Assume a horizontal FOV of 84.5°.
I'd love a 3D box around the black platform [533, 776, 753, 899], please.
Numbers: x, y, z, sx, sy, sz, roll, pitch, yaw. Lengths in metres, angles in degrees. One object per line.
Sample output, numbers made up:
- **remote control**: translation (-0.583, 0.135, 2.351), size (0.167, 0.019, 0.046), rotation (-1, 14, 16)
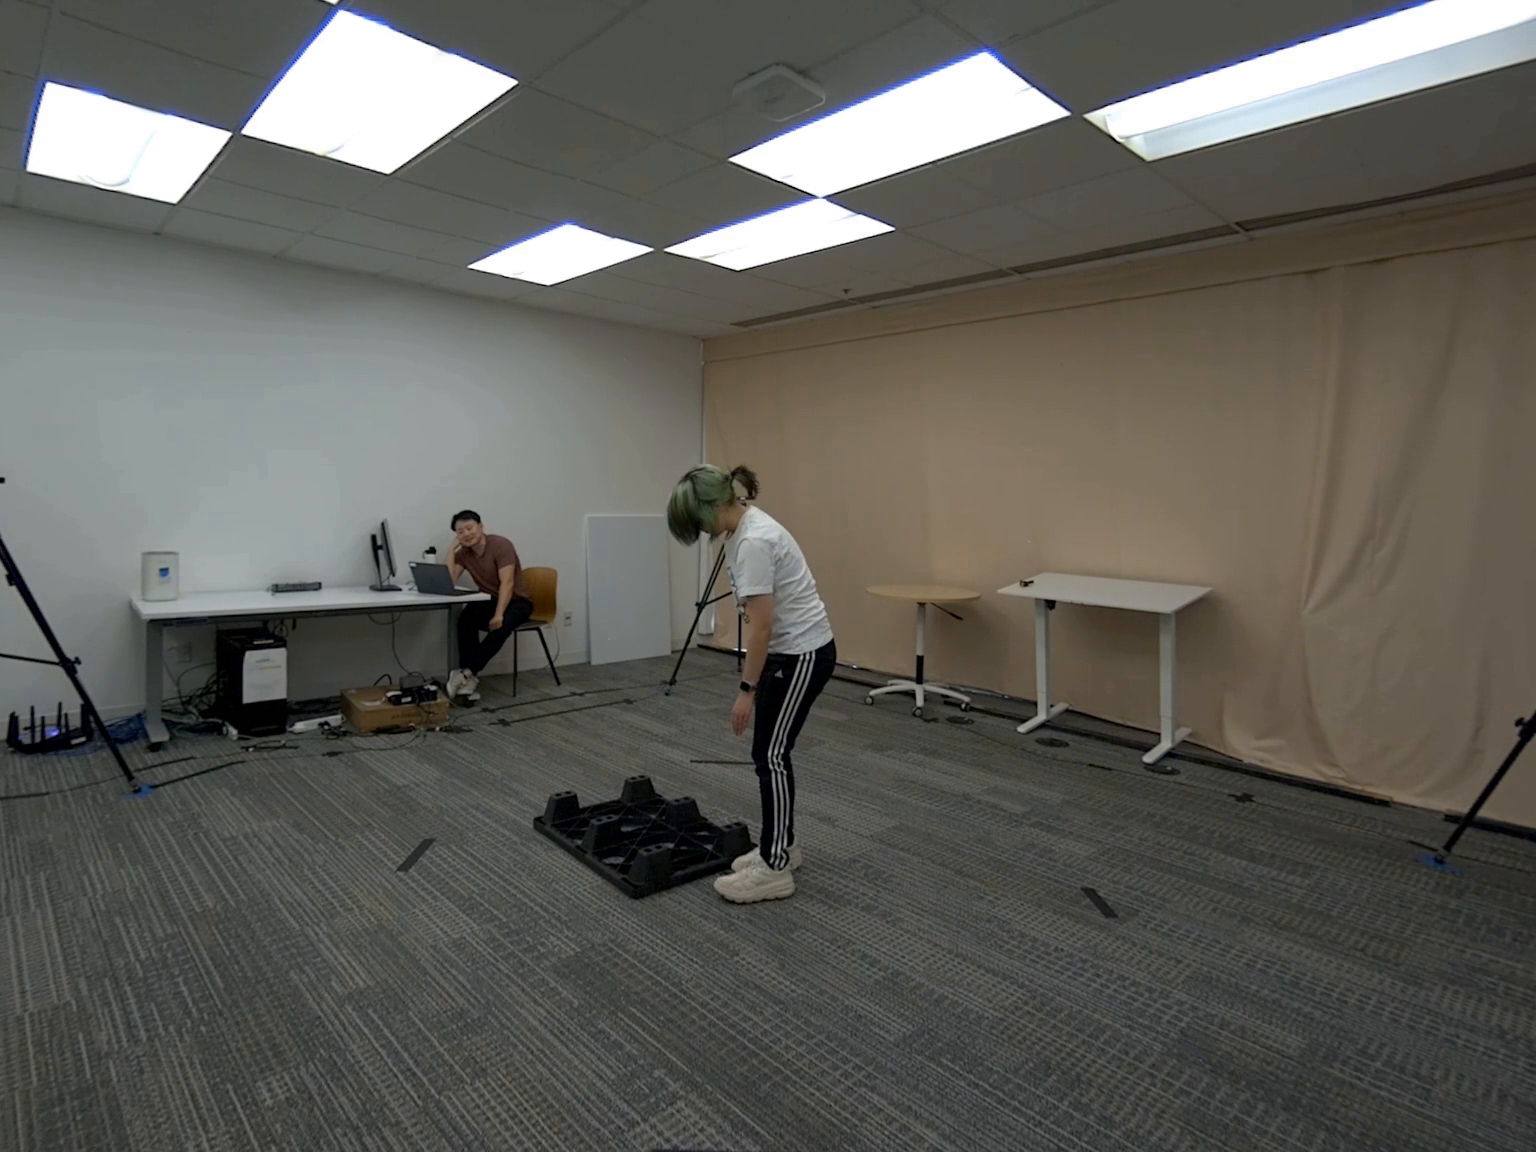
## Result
- **black platform**: translation (-0.497, 1.007, 3.382), size (0.592, 0.143, 0.826), rotation (-4, 8, -40)
